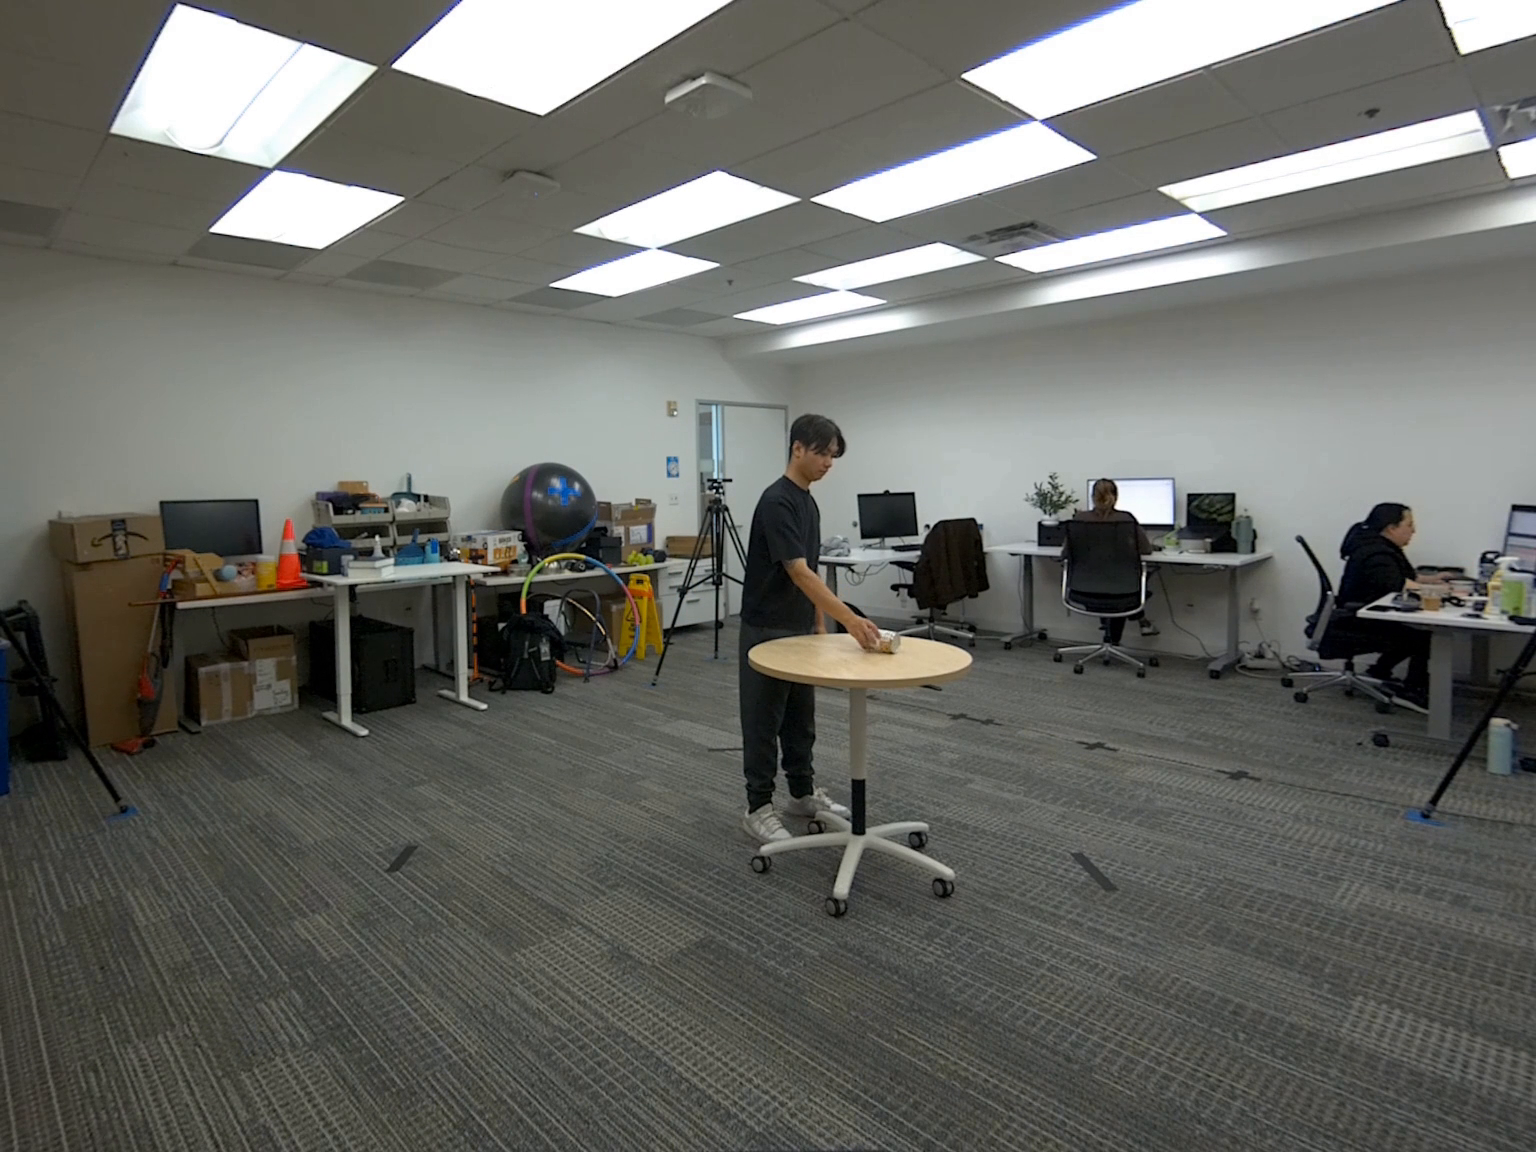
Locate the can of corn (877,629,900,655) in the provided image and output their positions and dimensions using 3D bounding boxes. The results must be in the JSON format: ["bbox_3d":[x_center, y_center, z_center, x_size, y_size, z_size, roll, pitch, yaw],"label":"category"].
[{"bbox_3d":[0.398,0.223,3.007,0.114,0.074,0.072,9,10,35],"label":"can of corn"}]
